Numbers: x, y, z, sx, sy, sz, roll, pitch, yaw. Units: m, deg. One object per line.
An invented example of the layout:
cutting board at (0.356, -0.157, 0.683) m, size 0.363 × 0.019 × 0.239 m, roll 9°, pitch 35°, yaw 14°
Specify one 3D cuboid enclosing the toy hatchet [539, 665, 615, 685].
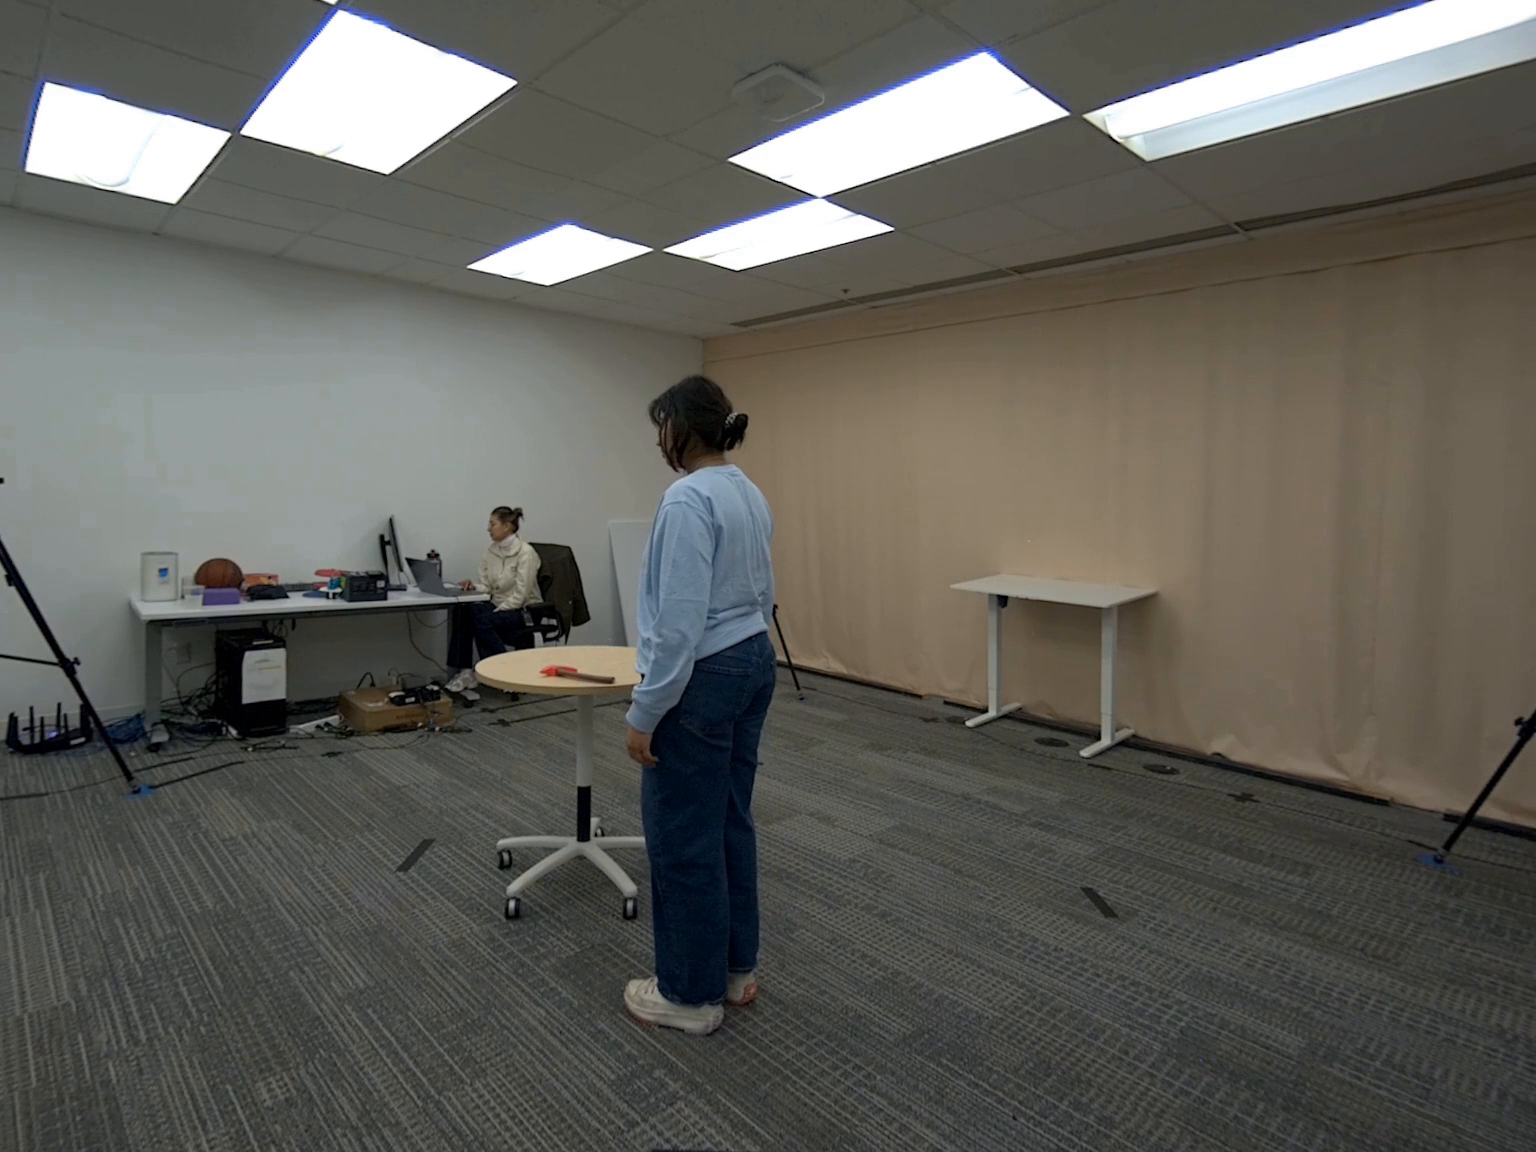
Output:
toy hatchet at (-0.635, 0.325, 2.784) m, size 0.274 × 0.029 × 0.129 m, roll 5°, pitch 1°, yaw 18°
